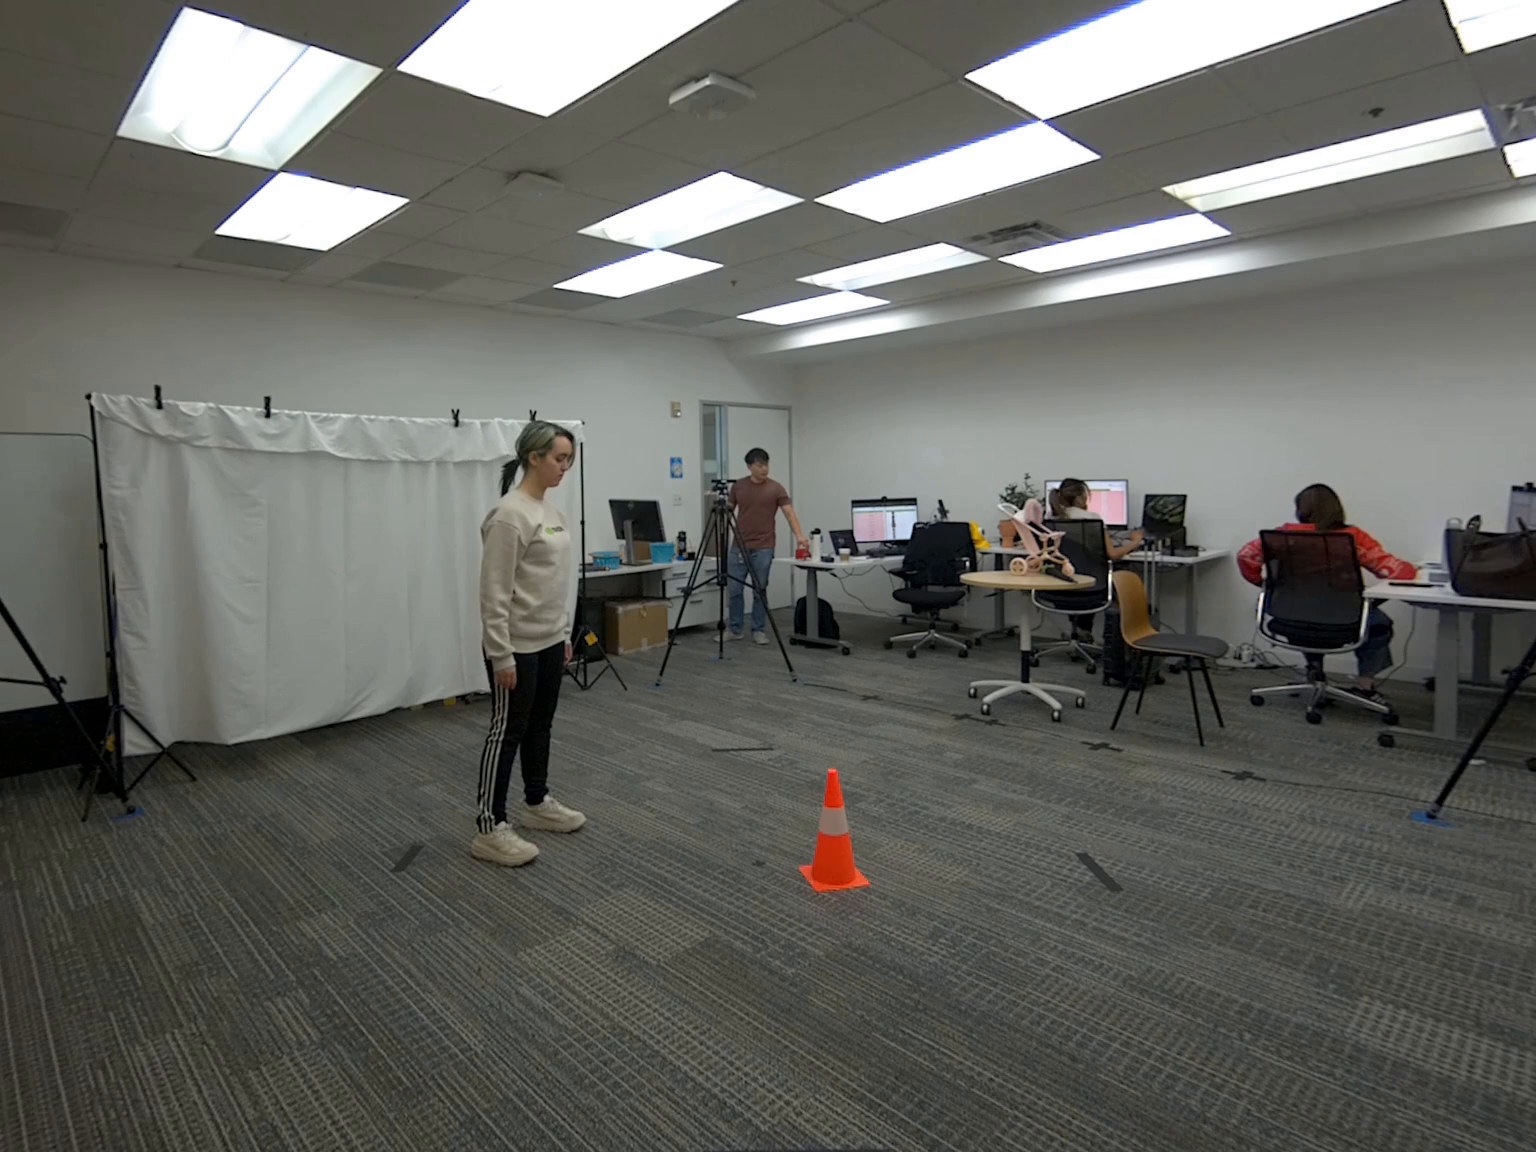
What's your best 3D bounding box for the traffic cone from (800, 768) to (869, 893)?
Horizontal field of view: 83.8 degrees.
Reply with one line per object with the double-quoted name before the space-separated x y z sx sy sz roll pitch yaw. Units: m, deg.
"traffic cone" 0.239 0.871 2.987 0.202 0.382 0.207 -1 5 -15
